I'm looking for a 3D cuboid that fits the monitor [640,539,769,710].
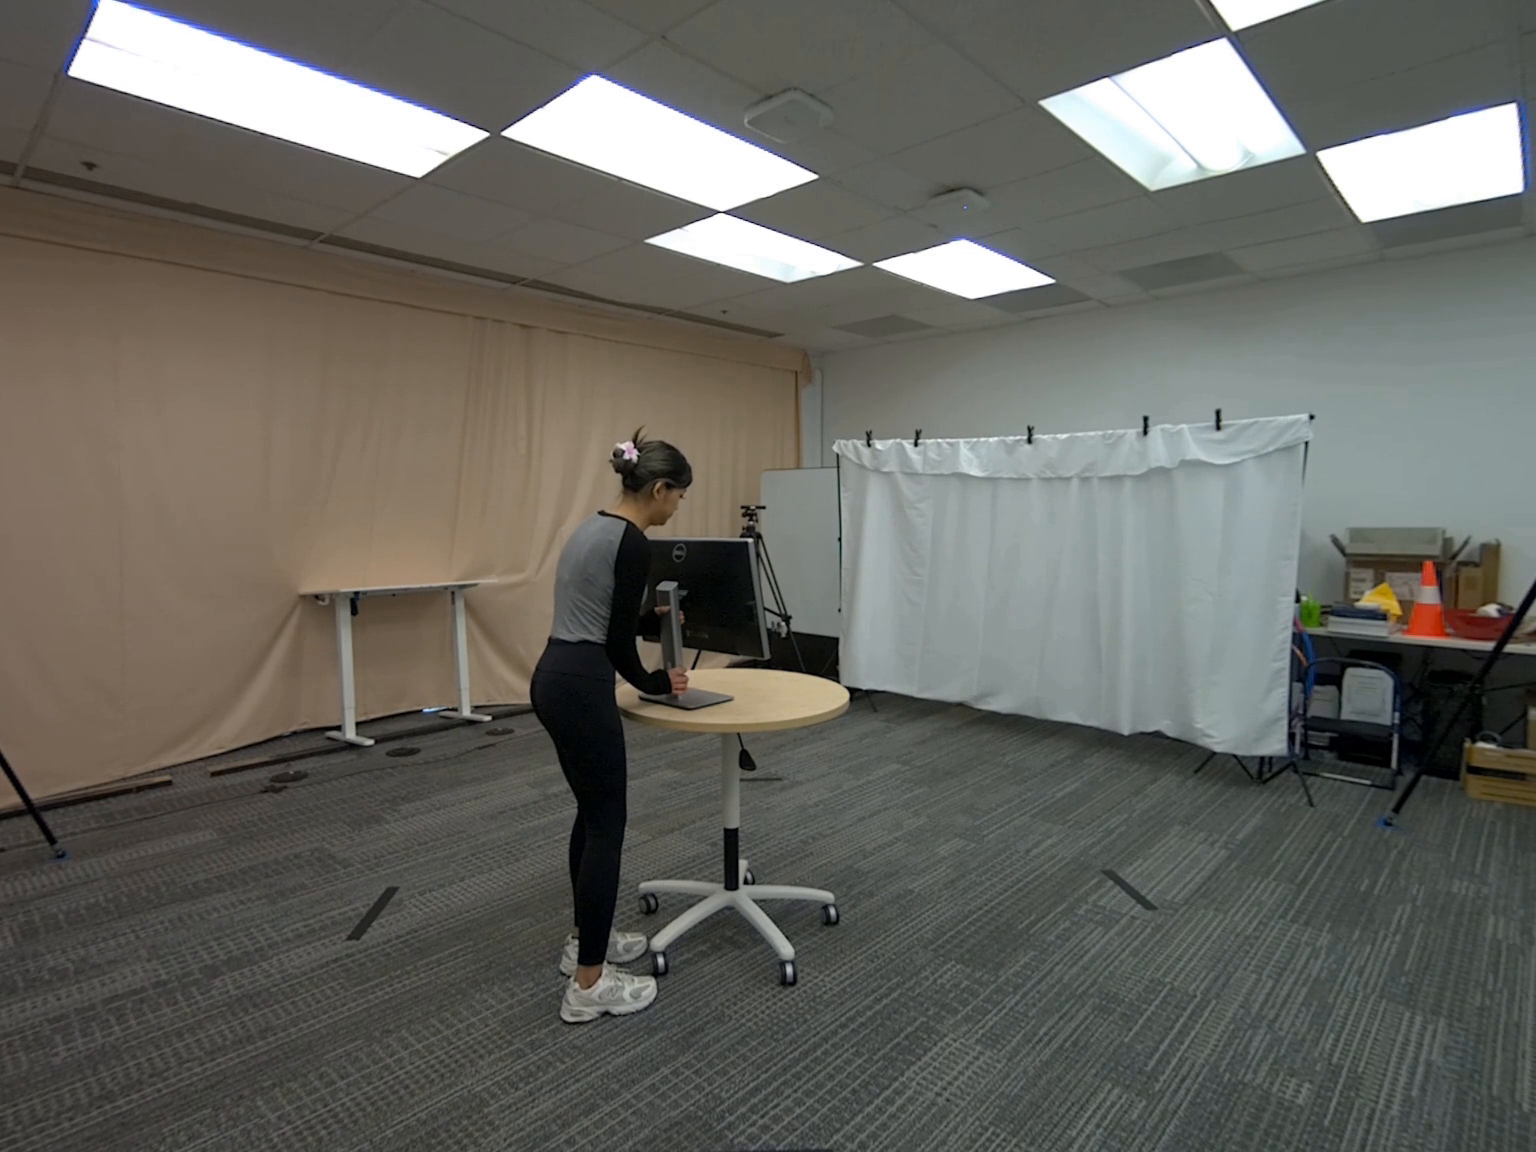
[{"bbox_3d":[-0.259,0.144,2.618,0.557,0.522,0.181,3,1,40],"label":"monitor"}]
